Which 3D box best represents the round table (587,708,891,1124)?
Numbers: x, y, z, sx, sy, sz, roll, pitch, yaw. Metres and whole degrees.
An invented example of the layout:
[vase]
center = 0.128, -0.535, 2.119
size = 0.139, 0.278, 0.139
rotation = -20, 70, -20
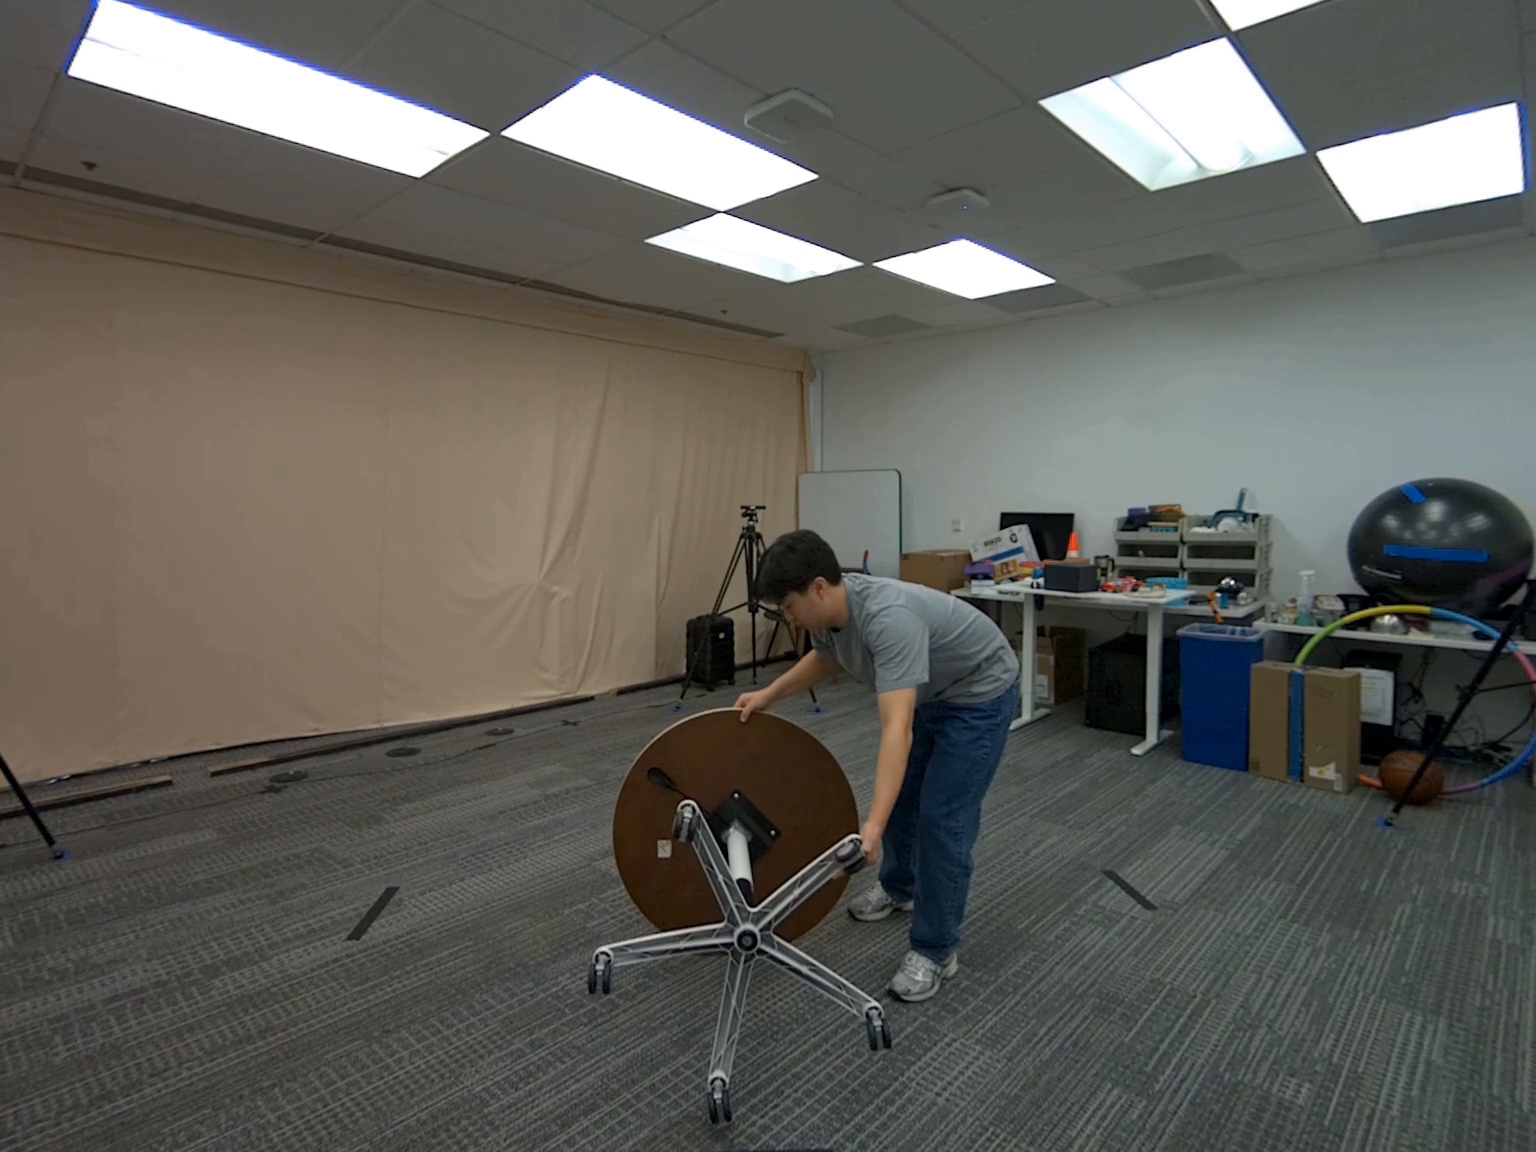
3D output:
[round table]
center = -0.071, 0.816, 2.228
size = 0.762, 0.763, 0.796
rotation = 0, 2, -3
